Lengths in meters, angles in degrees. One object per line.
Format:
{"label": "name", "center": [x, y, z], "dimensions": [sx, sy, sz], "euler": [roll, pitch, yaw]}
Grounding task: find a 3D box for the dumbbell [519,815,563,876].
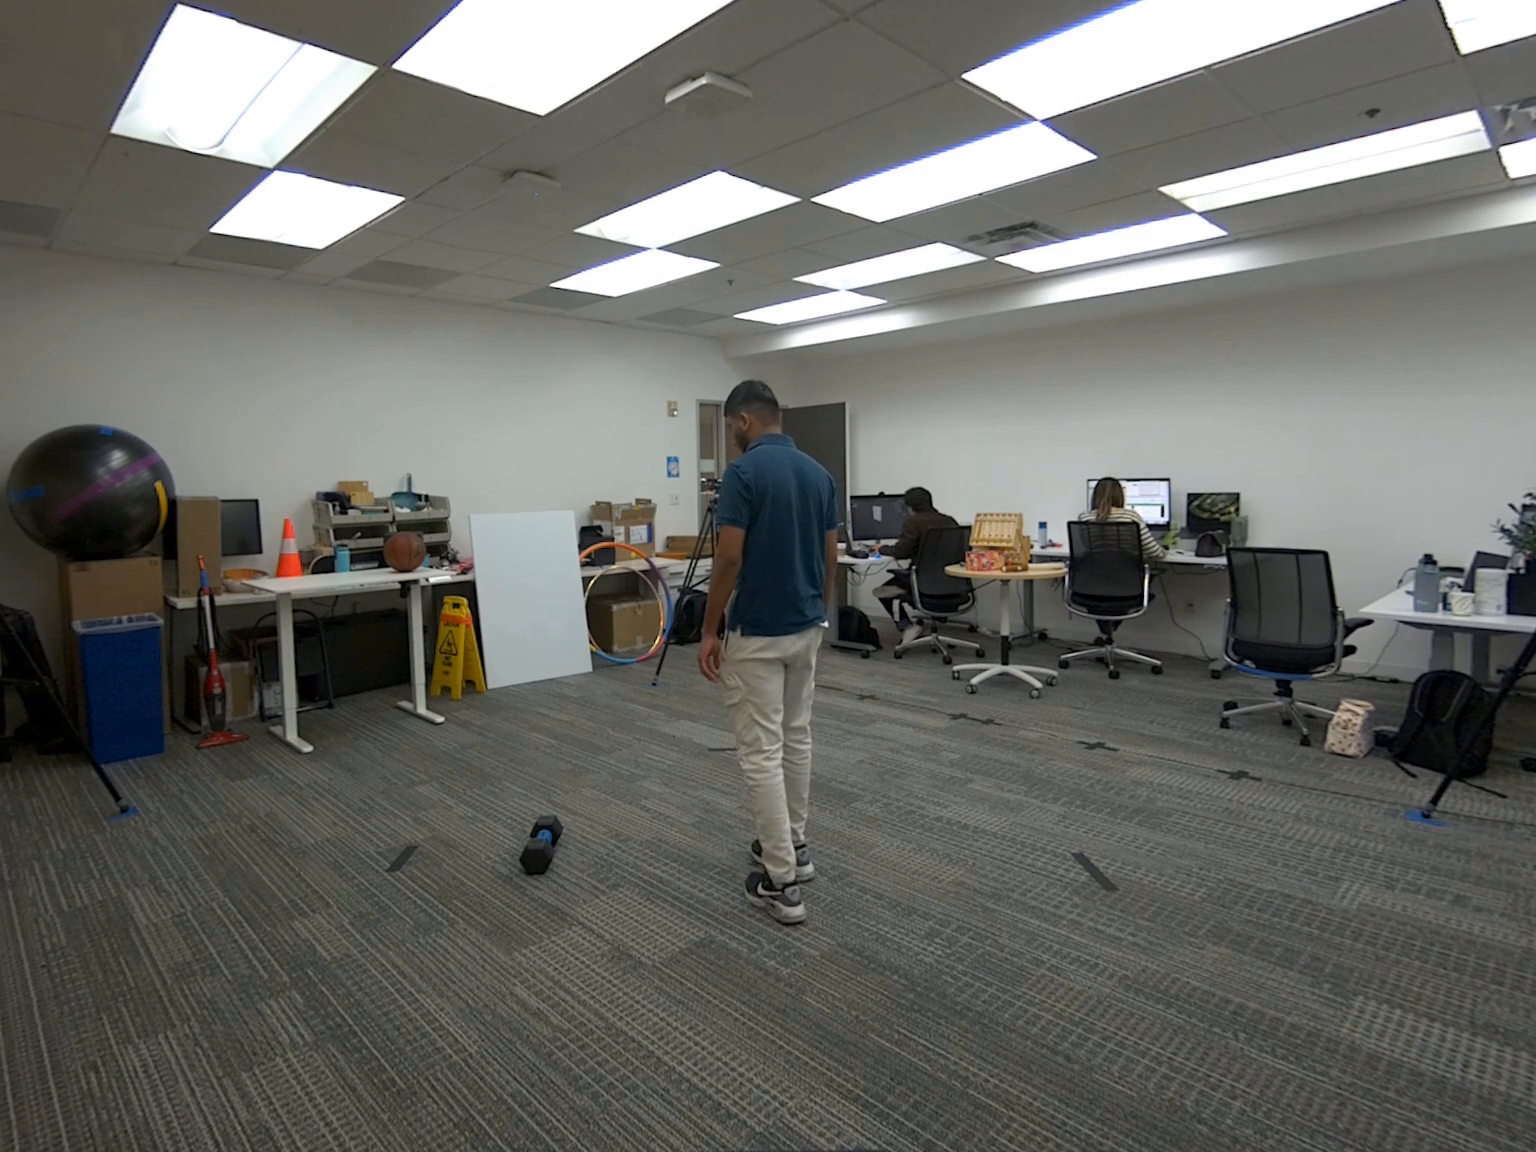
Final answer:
{"label": "dumbbell", "center": [-0.839, 0.998, 3.183], "dimensions": [0.122, 0.108, 0.296], "euler": [-4, 6, -4]}
